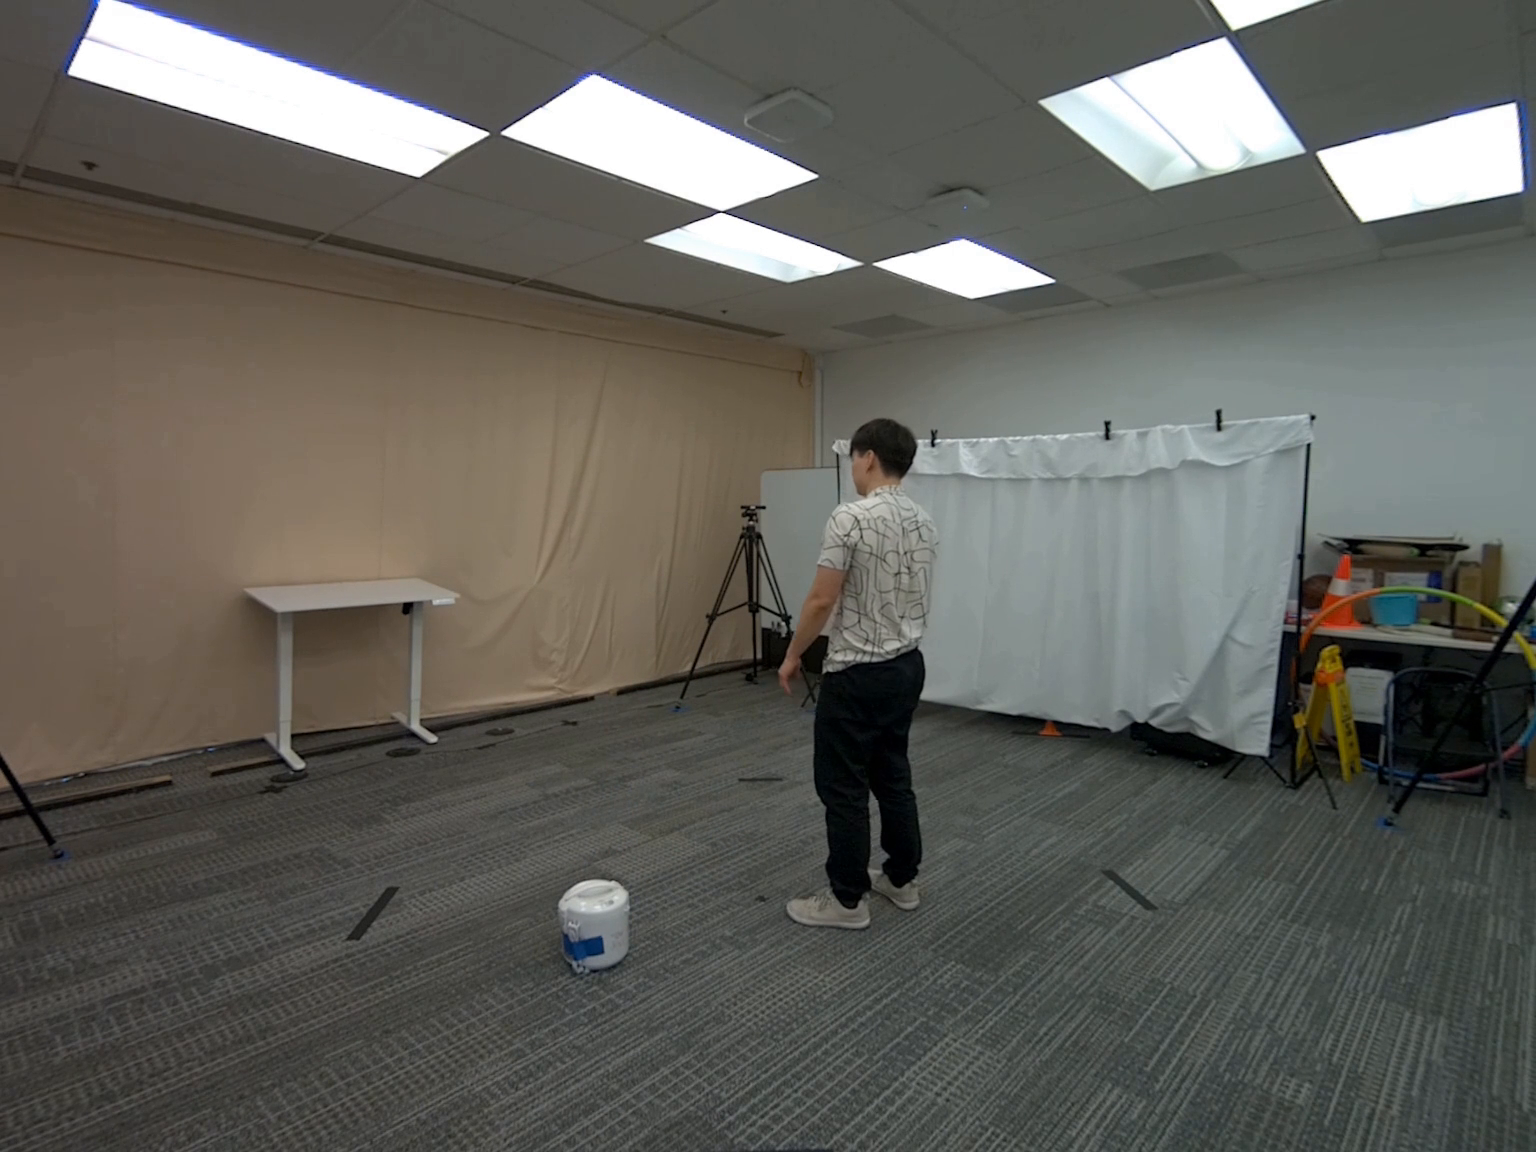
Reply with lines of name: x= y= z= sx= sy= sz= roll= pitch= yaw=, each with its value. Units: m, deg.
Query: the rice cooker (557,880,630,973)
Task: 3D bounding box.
rice cooker: x=-0.535 y=1.059 z=2.611 sx=0.215 sy=0.232 sz=0.223 roll=-2 pitch=5 yaw=-25
